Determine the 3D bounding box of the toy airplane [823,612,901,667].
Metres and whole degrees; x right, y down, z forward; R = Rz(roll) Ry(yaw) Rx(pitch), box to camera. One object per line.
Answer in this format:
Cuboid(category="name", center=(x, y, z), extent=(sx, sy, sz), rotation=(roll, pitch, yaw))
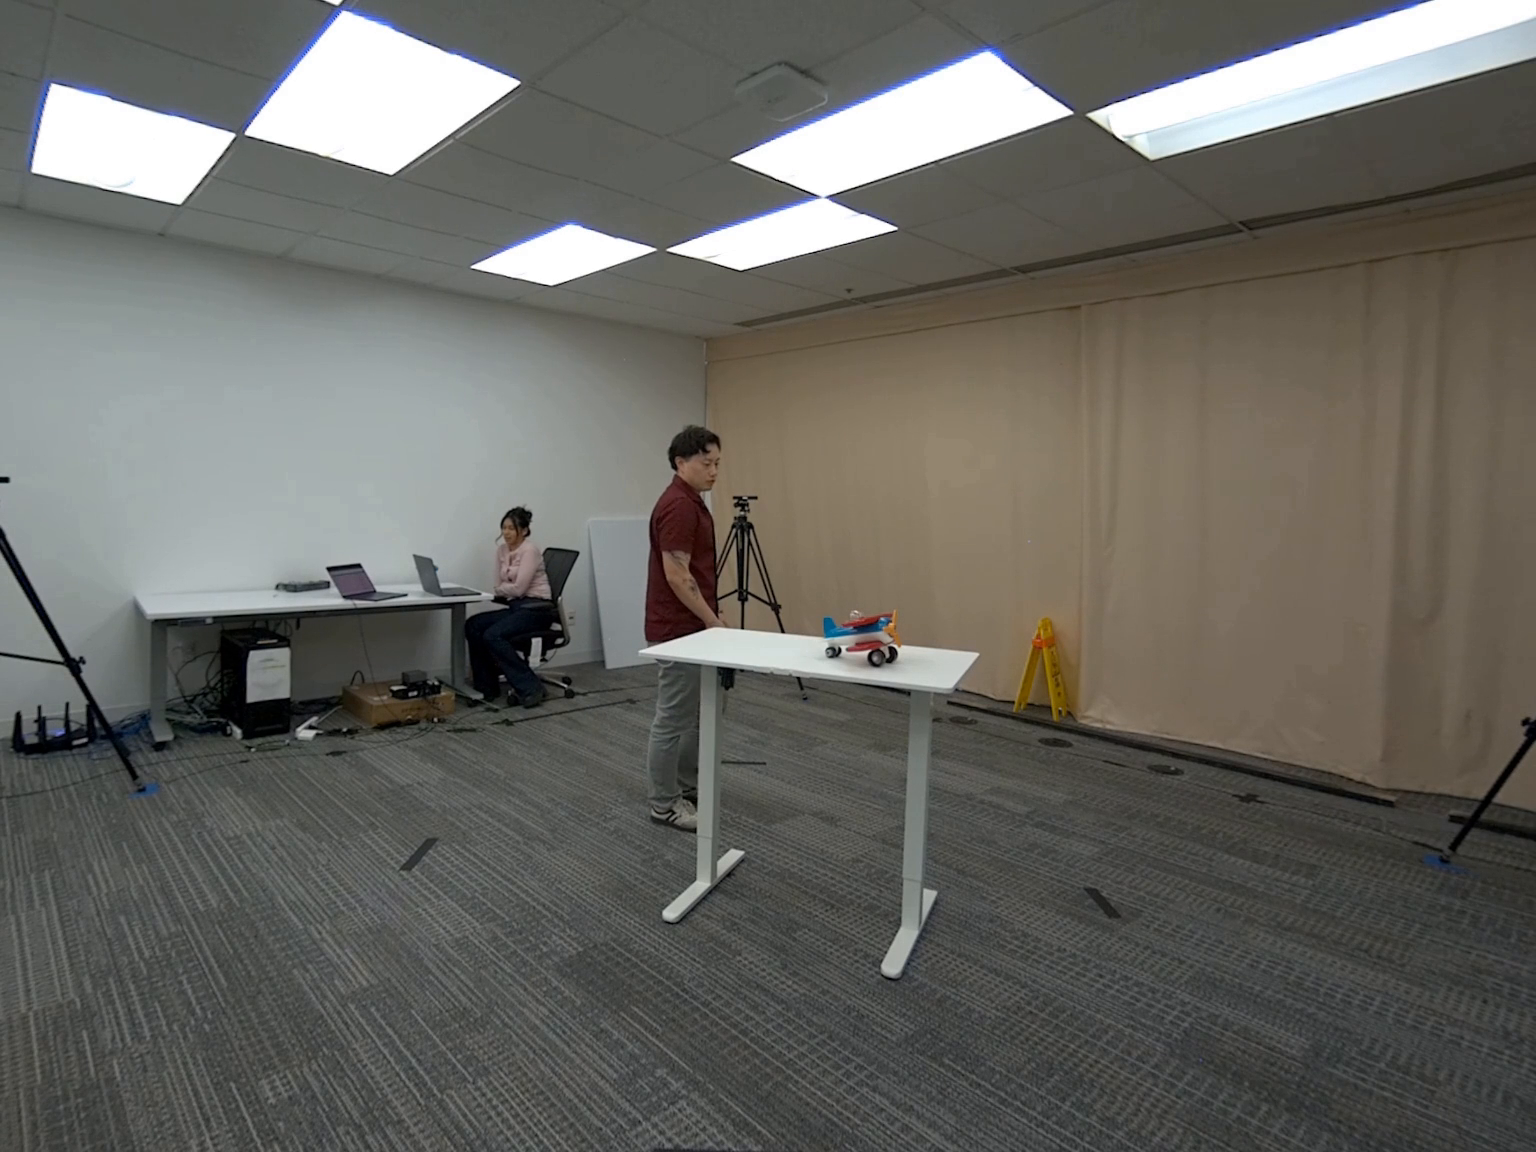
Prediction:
Cuboid(category="toy airplane", center=(0.278, 0.199, 2.664), extent=(0.261, 0.156, 0.250), rotation=(2, 7, 8))
